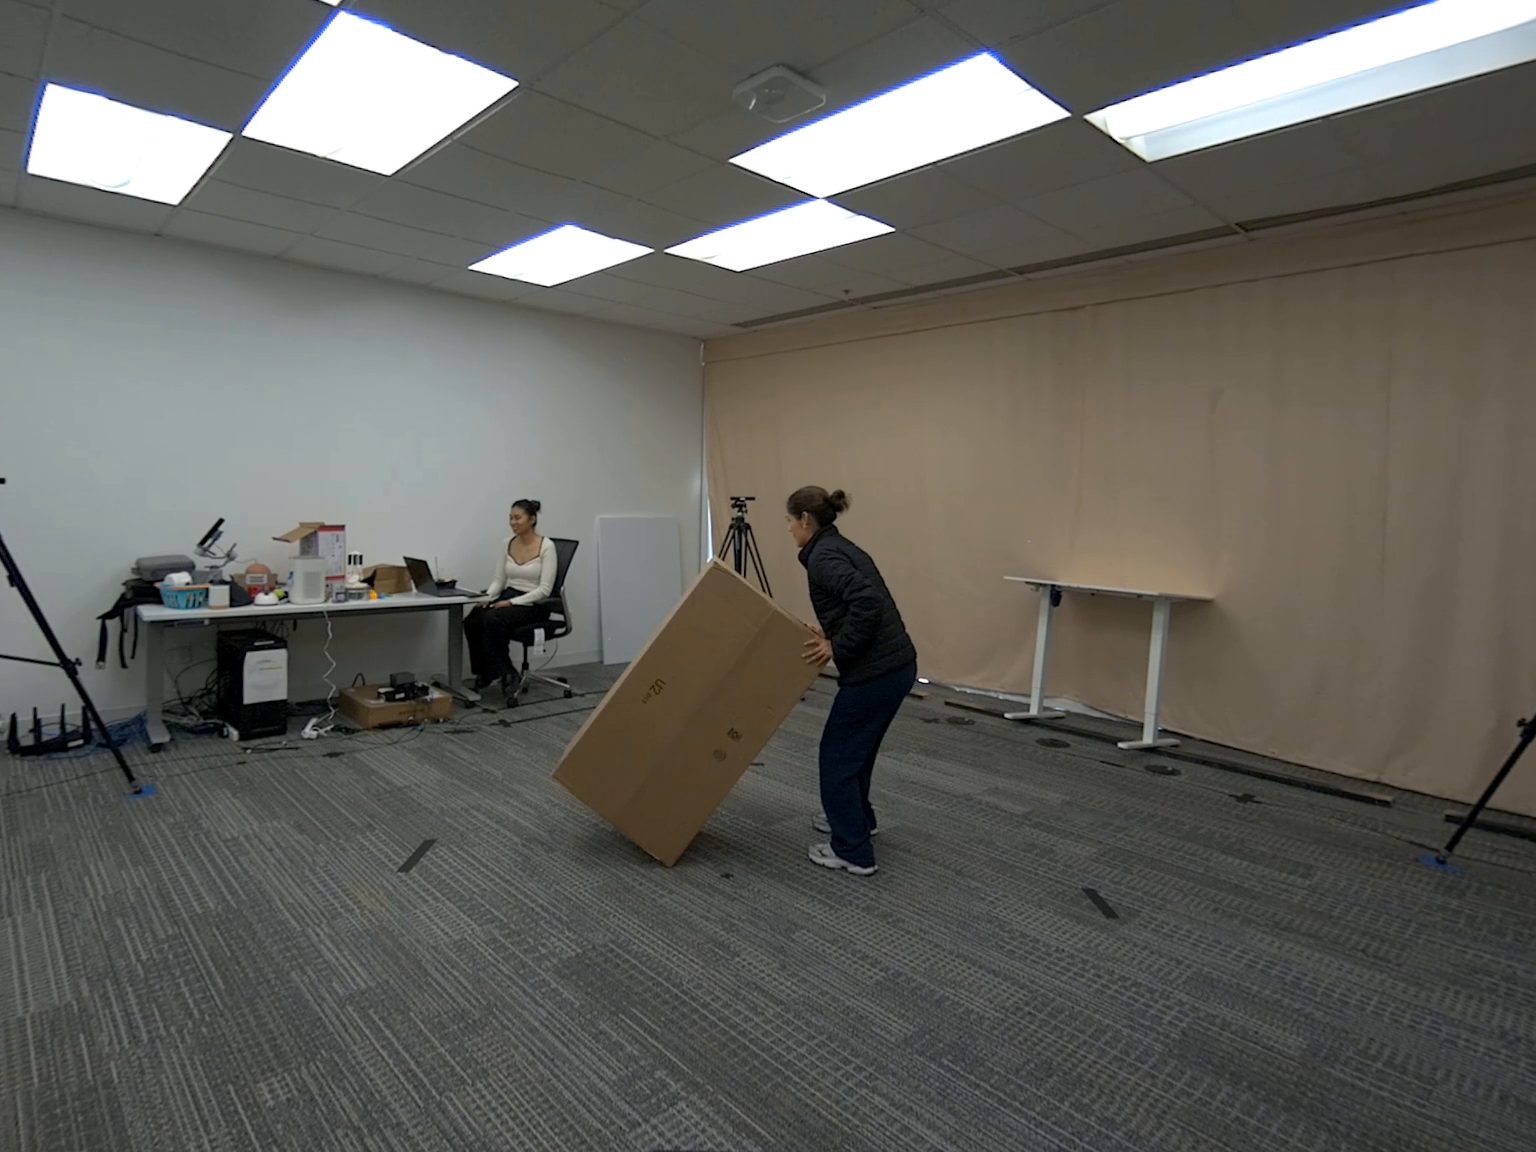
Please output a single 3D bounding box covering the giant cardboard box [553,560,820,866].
[{"bbox_3d":[-0.300,0.509,3.331,0.583,1.027,0.448,37,0,-3],"label":"giant cardboard box"}]
